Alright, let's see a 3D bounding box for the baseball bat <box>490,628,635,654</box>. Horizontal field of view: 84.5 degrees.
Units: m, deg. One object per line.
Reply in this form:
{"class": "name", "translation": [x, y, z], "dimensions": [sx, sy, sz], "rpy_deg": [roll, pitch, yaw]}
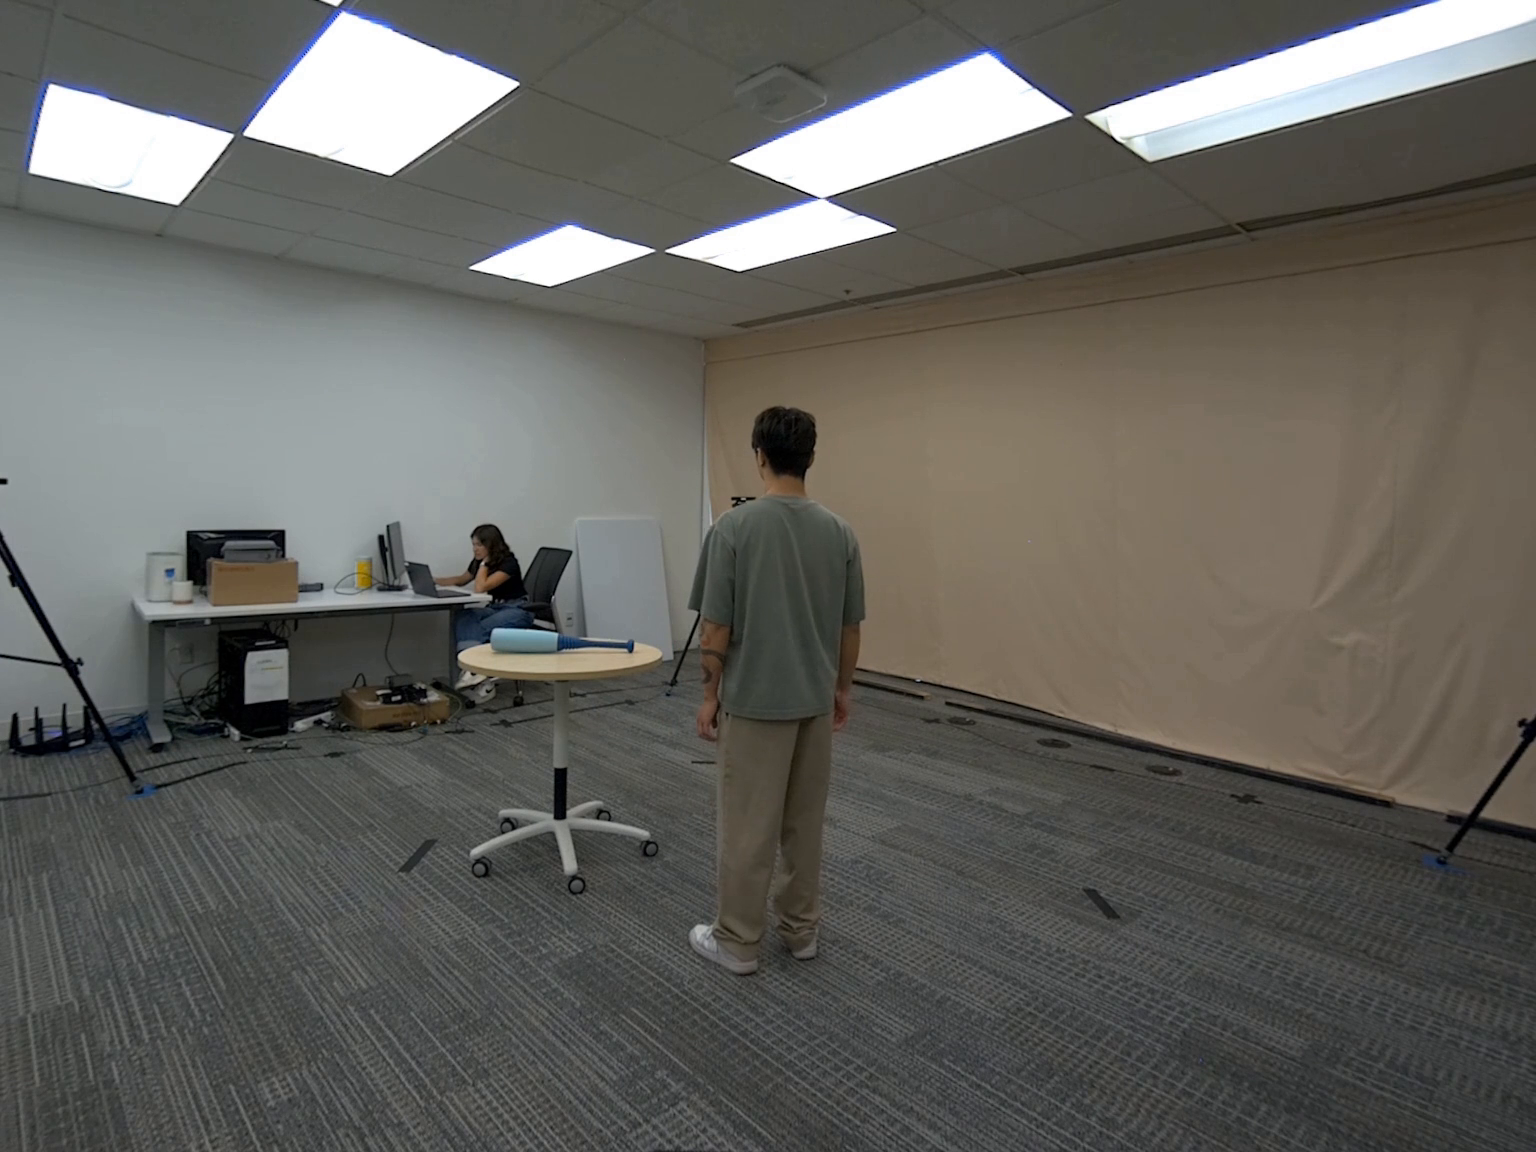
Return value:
{"class": "baseball bat", "translation": [-0.797, 0.259, 3.245], "dimensions": [0.538, 0.089, 0.090], "rpy_deg": [3, 4, -10]}
